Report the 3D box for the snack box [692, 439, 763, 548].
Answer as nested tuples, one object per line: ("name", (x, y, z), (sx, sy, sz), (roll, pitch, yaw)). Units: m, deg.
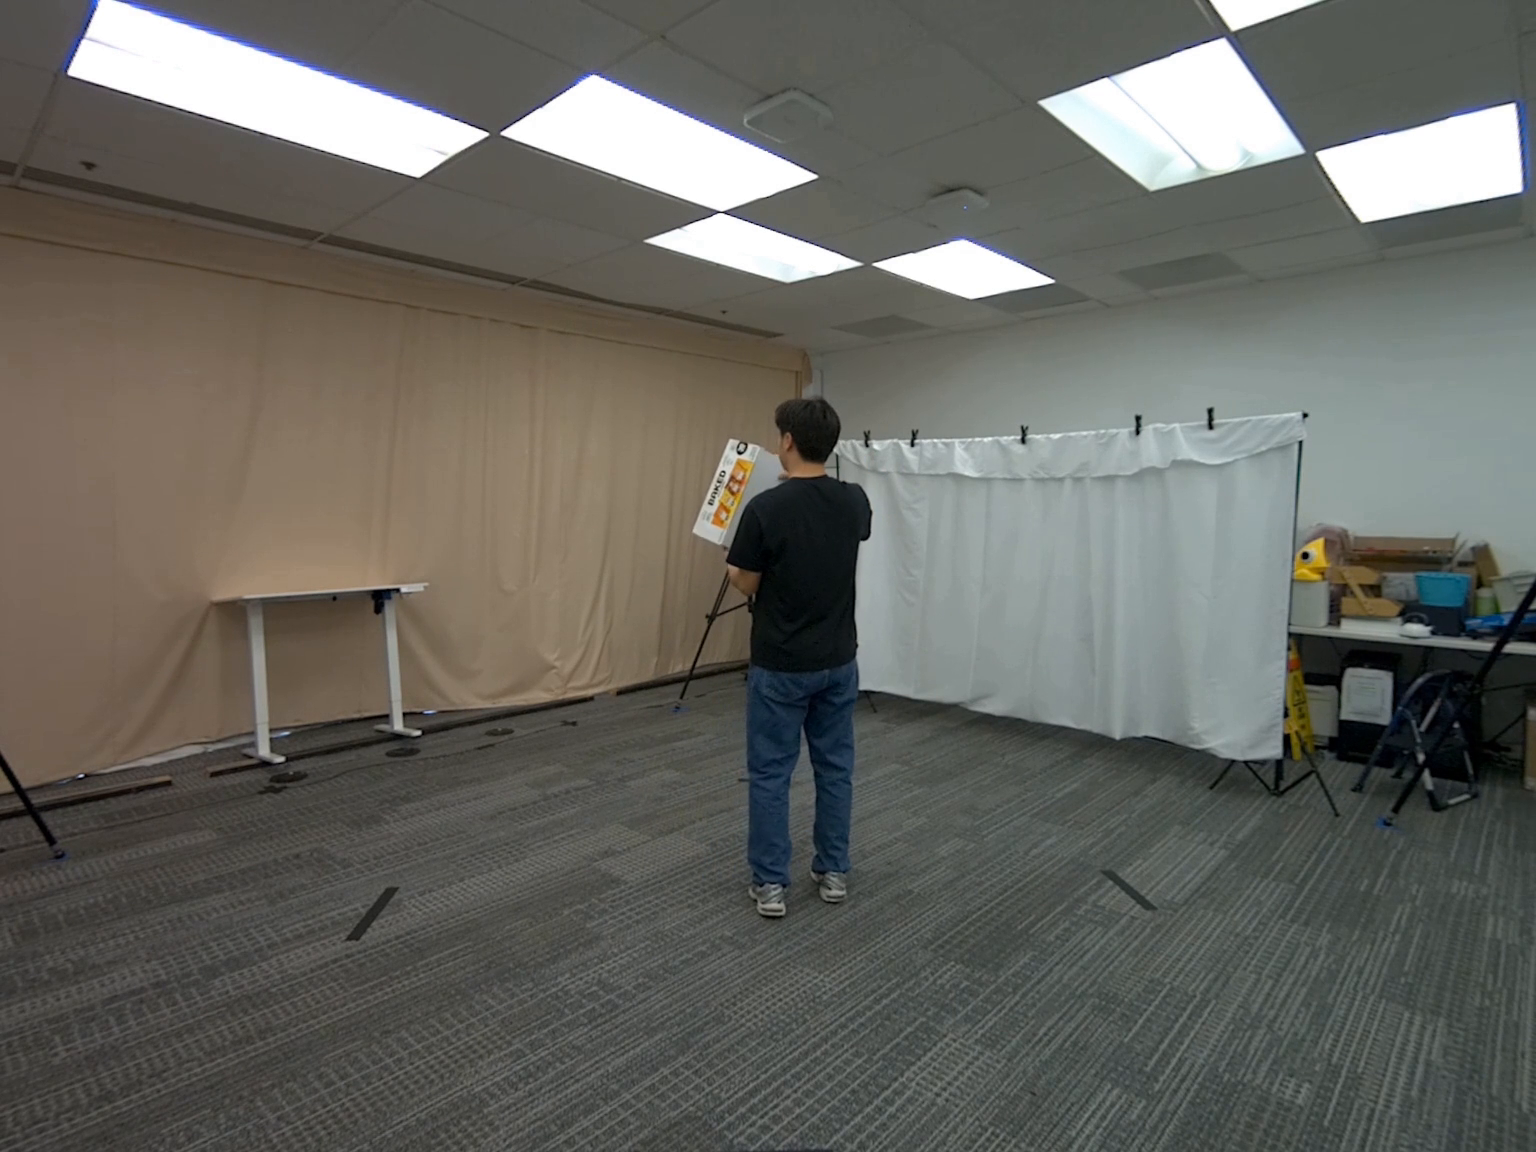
("snack box", (-0.043, -0.290, 3.374), (0.328, 0.405, 0.213), (21, 3, -39))
